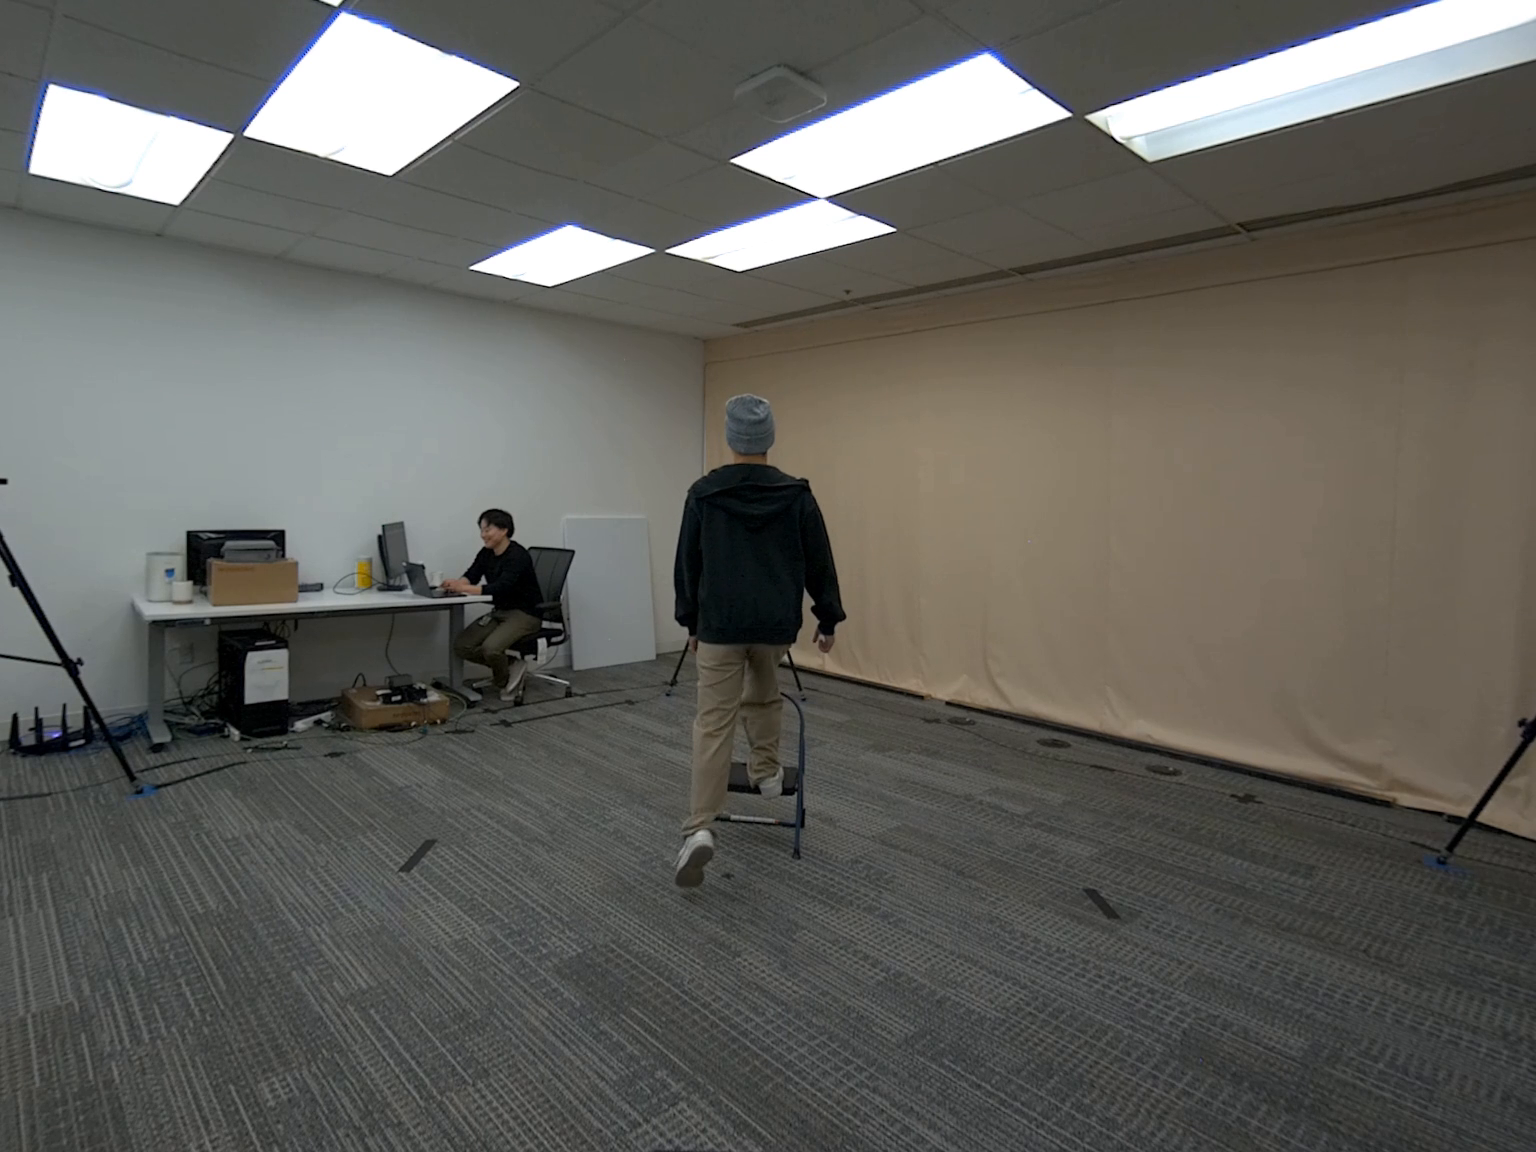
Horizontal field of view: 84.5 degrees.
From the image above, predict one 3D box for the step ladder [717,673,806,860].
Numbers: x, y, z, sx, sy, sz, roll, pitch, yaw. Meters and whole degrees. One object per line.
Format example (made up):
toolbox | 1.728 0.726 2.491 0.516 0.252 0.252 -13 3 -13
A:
step ladder | -0.064 0.781 3.461 0.434 0.605 0.348 2 3 8
